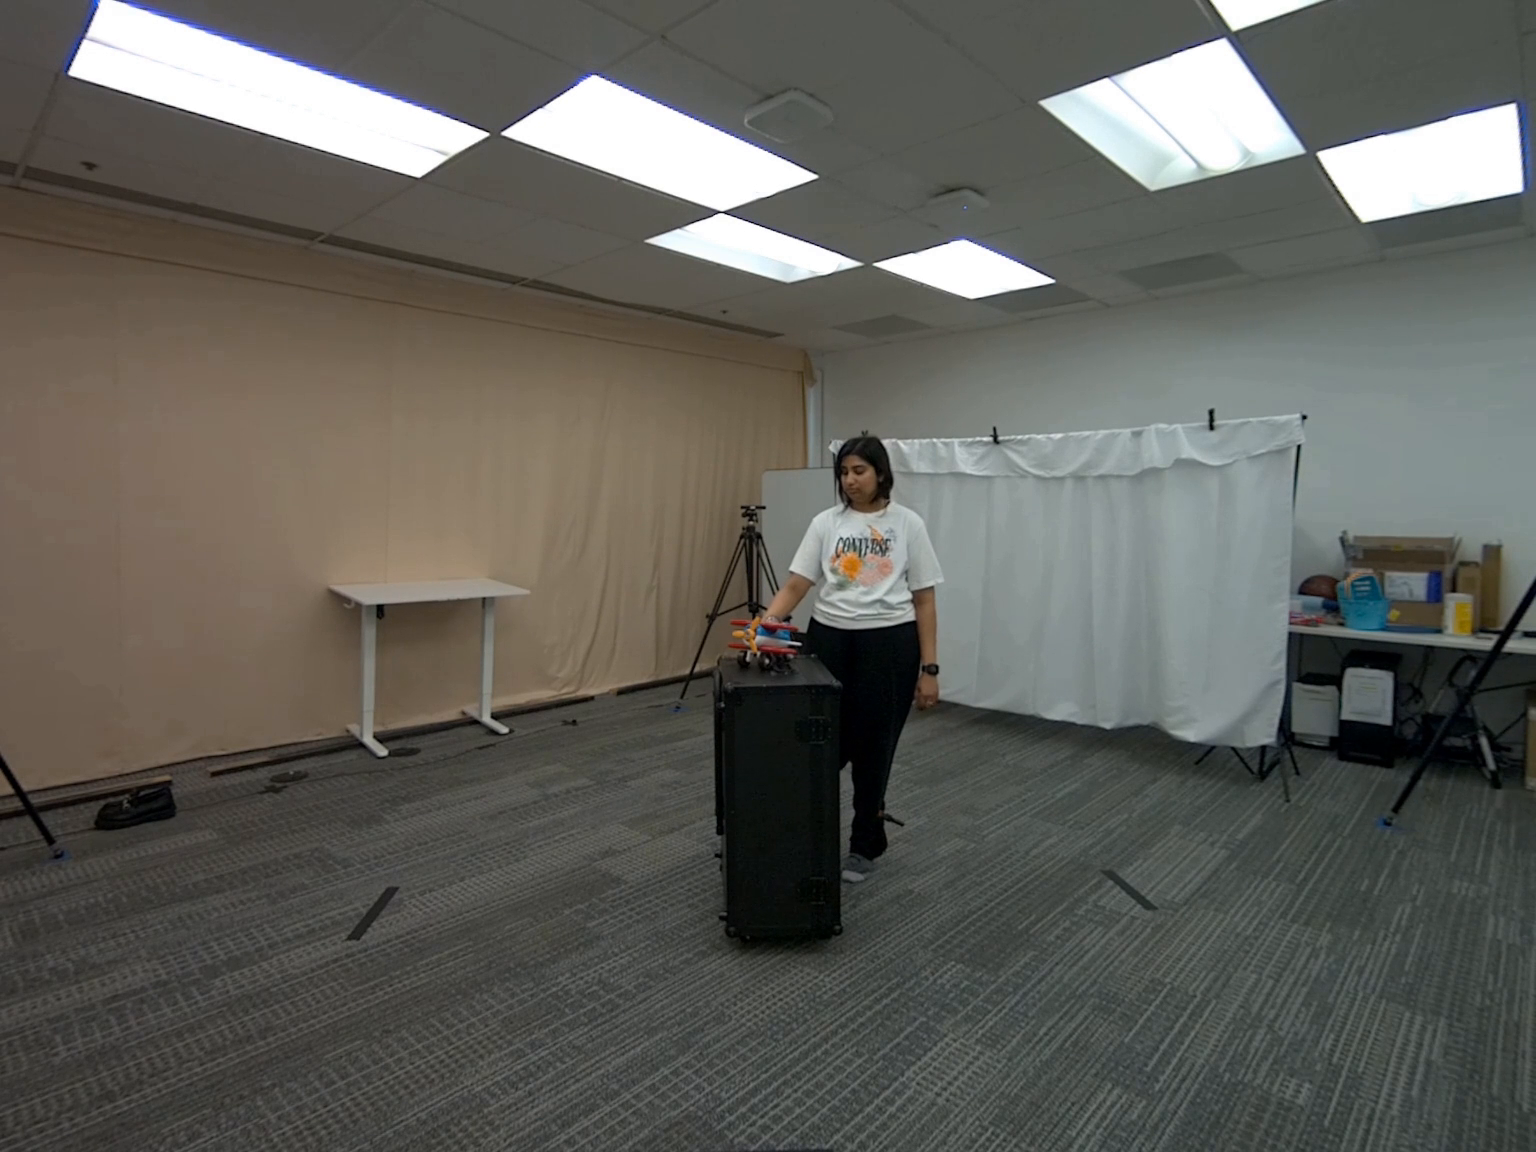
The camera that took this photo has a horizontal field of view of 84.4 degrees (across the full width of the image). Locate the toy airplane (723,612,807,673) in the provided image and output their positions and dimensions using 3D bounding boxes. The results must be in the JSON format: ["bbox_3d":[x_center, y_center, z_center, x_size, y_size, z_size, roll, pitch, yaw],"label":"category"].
[{"bbox_3d":[-0.006,0.221,2.891,0.253,0.156,0.257,-2,5,8],"label":"toy airplane"}]
